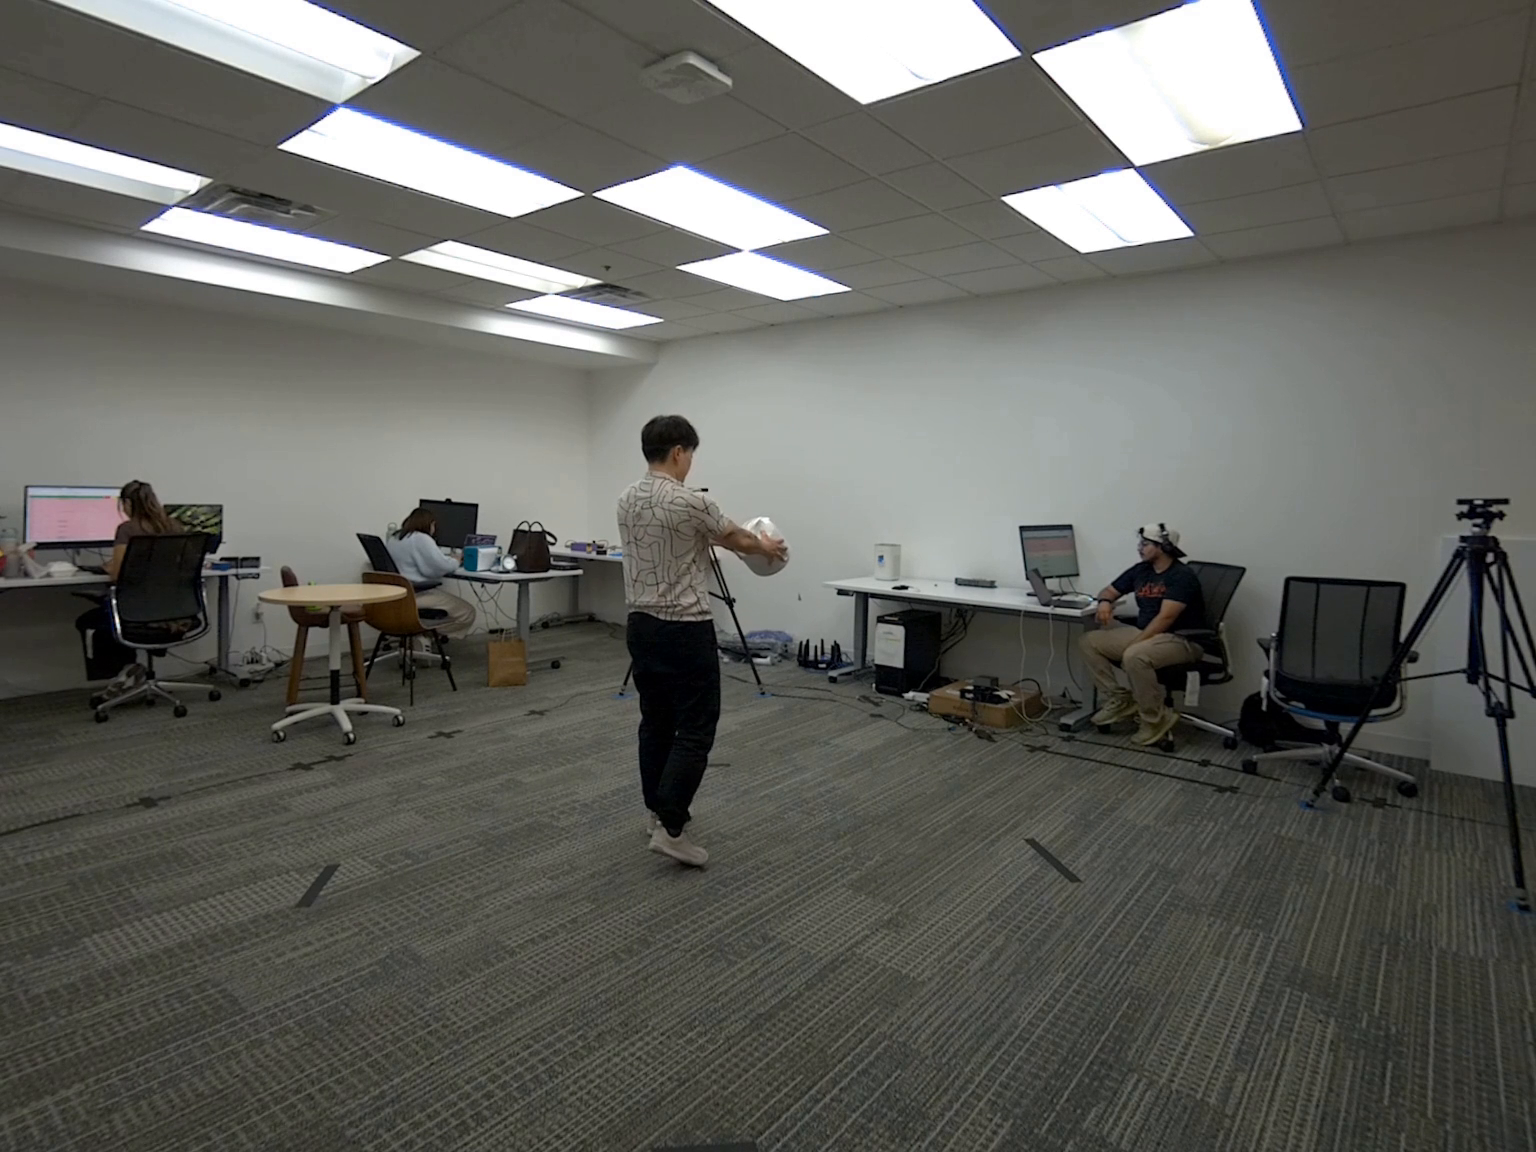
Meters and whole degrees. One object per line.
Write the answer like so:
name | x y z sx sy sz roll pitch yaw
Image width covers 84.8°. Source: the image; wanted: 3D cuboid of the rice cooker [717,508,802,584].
rice cooker | -0.039 -0.137 3.747 0.225 0.222 0.223 8 -30 43
